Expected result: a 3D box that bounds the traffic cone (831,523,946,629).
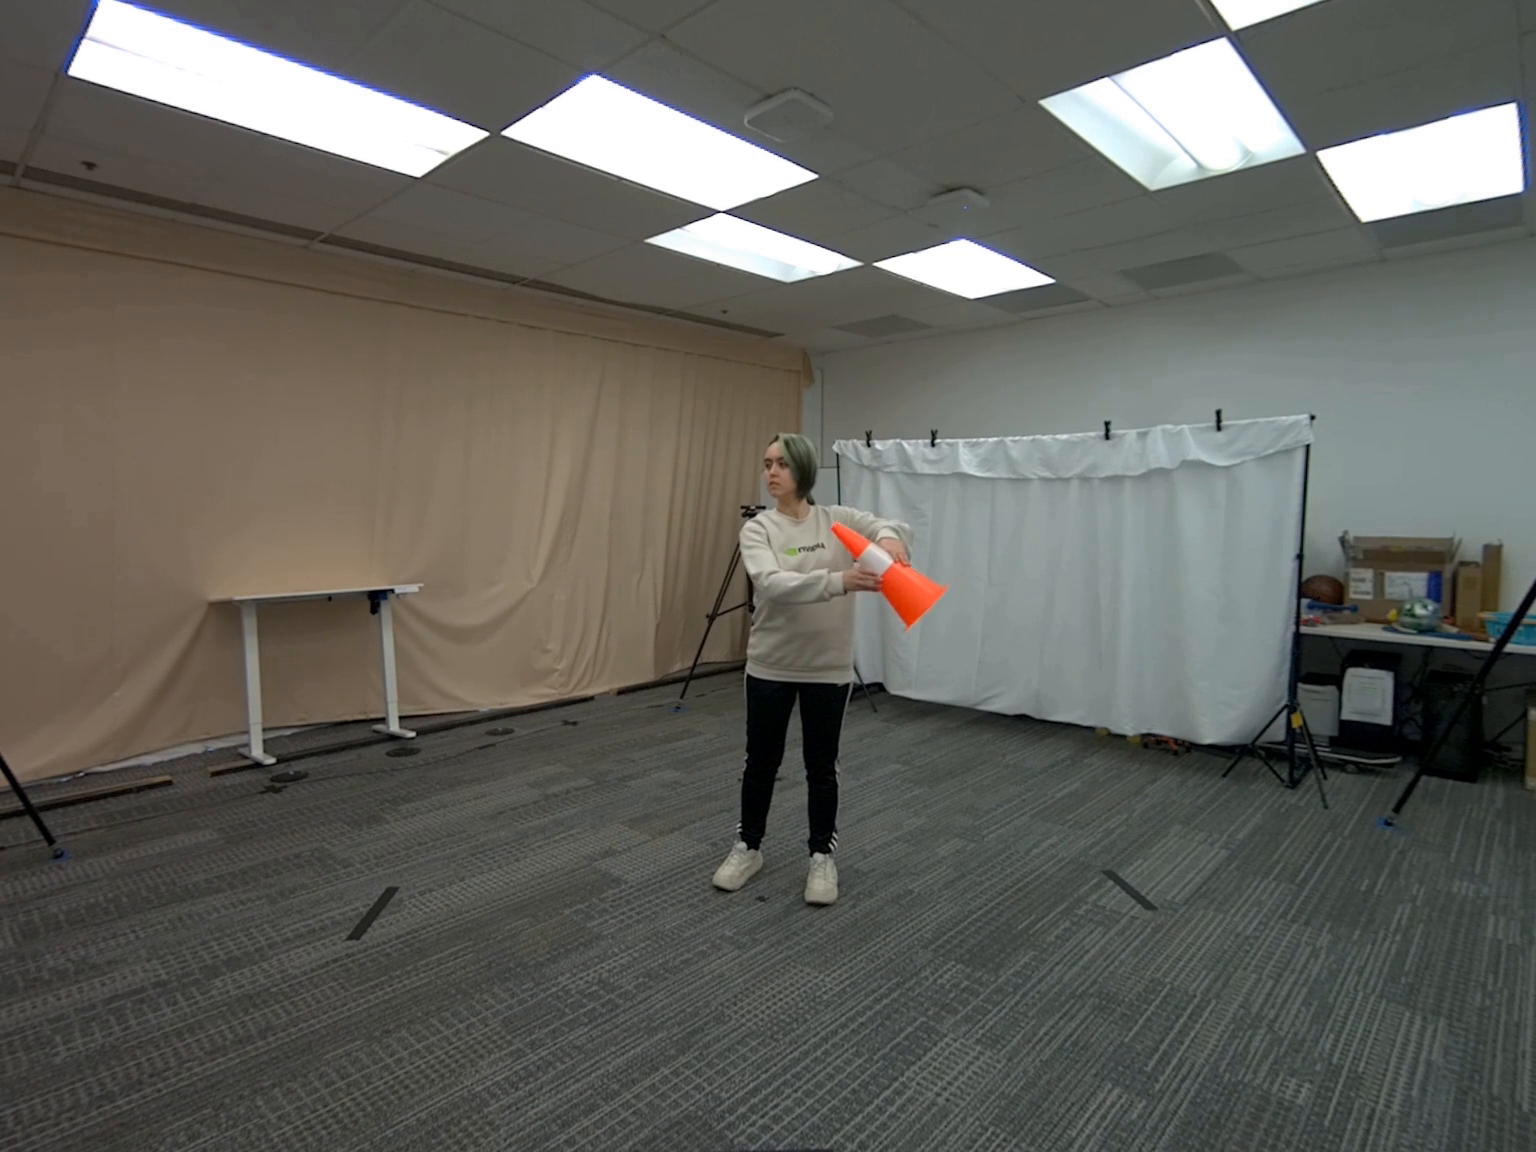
[{"bbox_3d":[0.341,-0.022,2.609,0.389,0.206,0.200,43,20,10],"label":"traffic cone"}]
